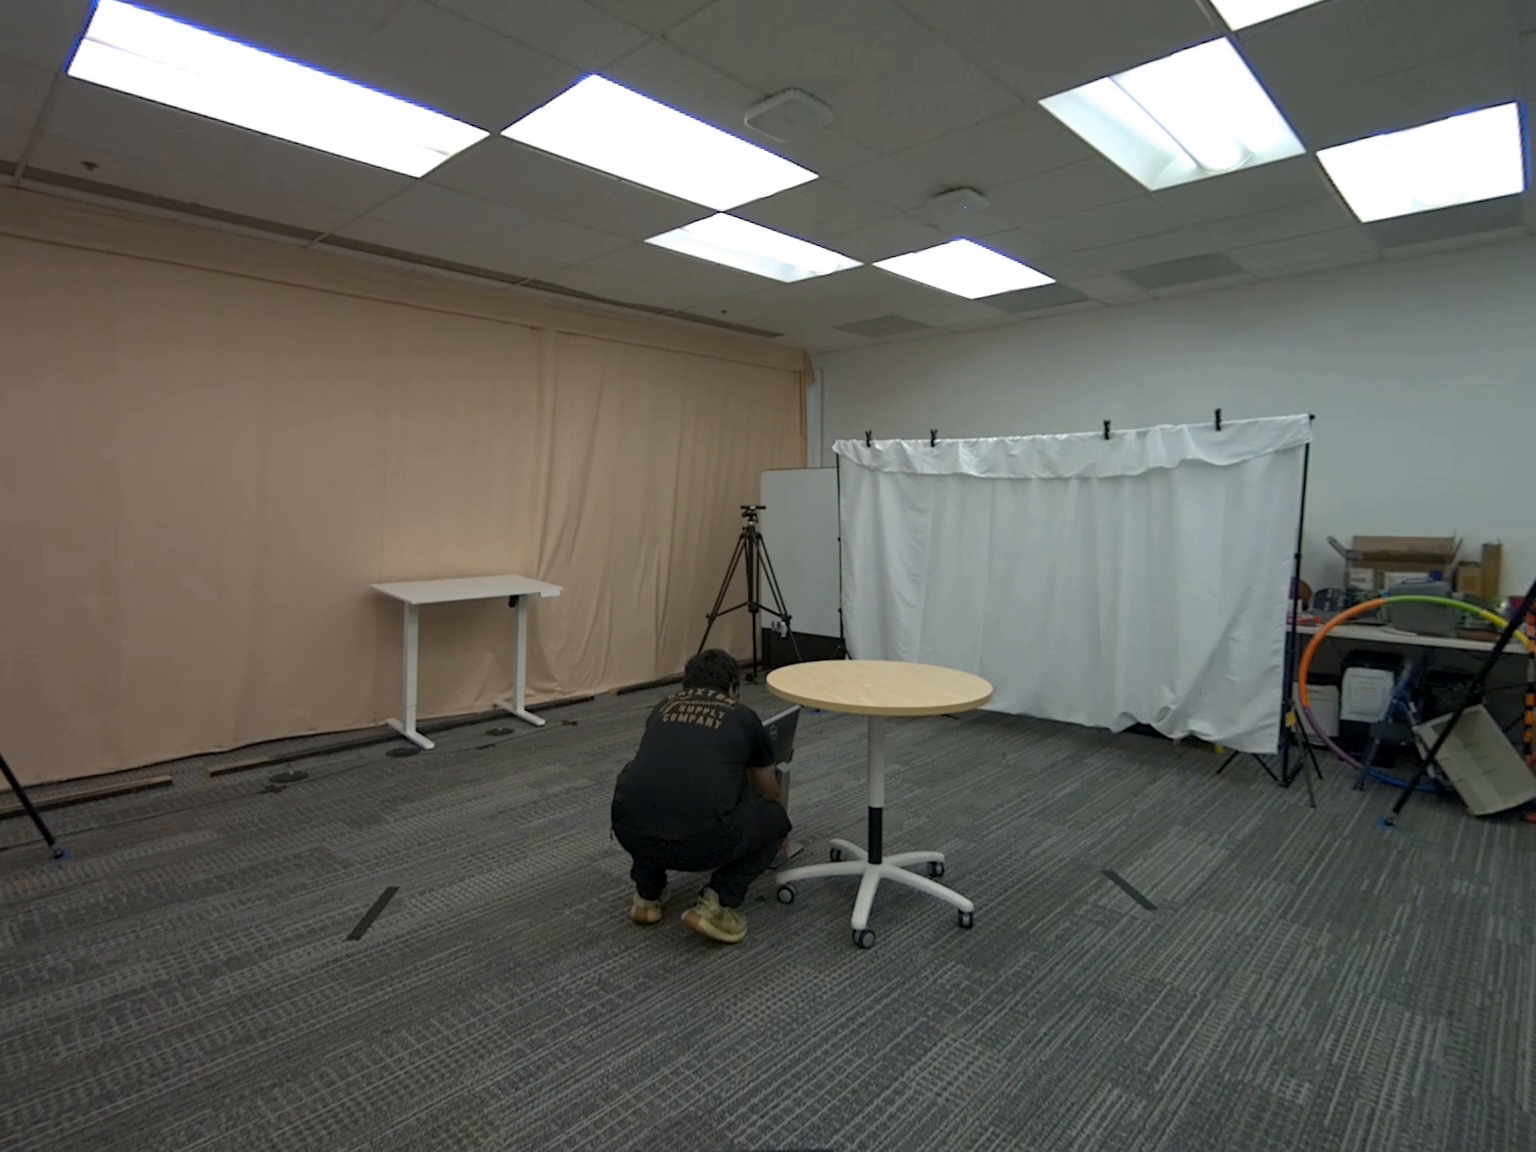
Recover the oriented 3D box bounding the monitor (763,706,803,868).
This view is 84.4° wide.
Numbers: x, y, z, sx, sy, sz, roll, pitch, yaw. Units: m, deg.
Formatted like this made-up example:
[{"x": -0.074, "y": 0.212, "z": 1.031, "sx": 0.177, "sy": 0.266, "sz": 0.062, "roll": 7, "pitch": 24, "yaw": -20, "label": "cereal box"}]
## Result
[{"x": 0.019, "y": 0.844, "z": 3.343, "sx": 0.216, "sy": 0.552, "sz": 0.551, "roll": 9, "pitch": 8, "yaw": 27, "label": "monitor"}]
